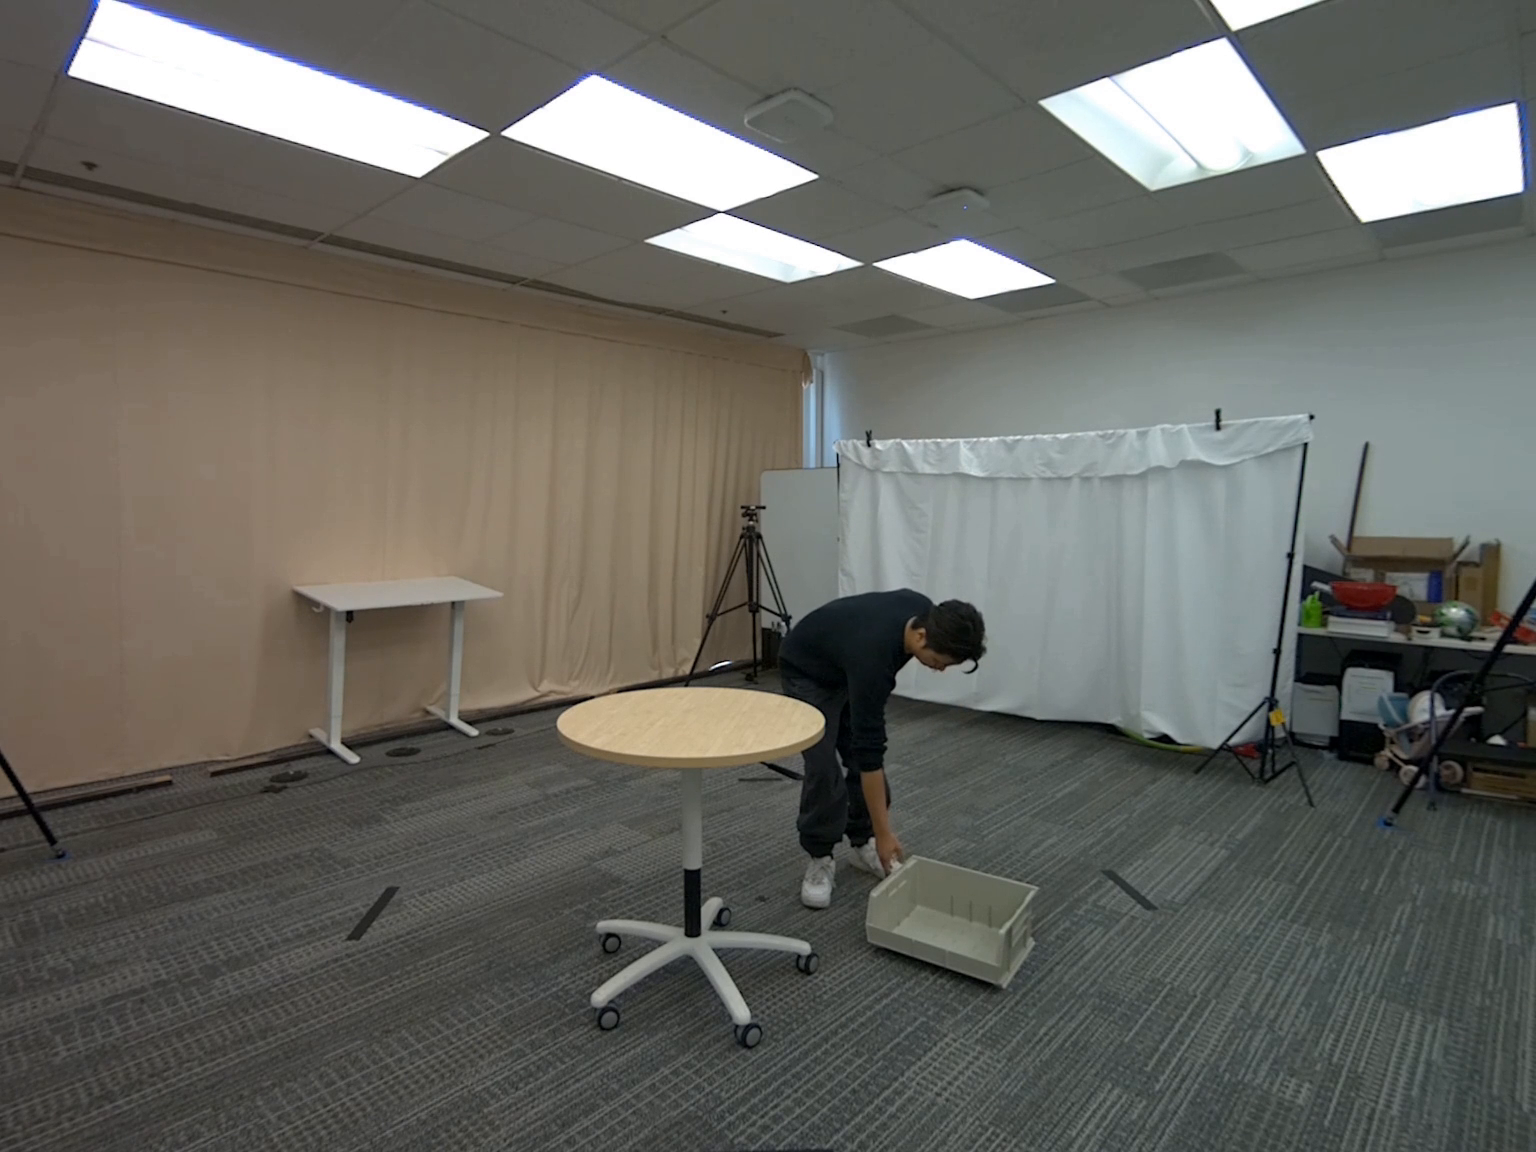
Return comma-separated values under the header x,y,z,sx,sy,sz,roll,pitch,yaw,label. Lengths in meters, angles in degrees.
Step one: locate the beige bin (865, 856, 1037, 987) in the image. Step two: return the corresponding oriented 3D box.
x,y,z,sx,sy,sz,roll,pitch,yaw,label
0.589,1.083,2.647,0.435,0.188,0.367,2,5,34,beige bin
